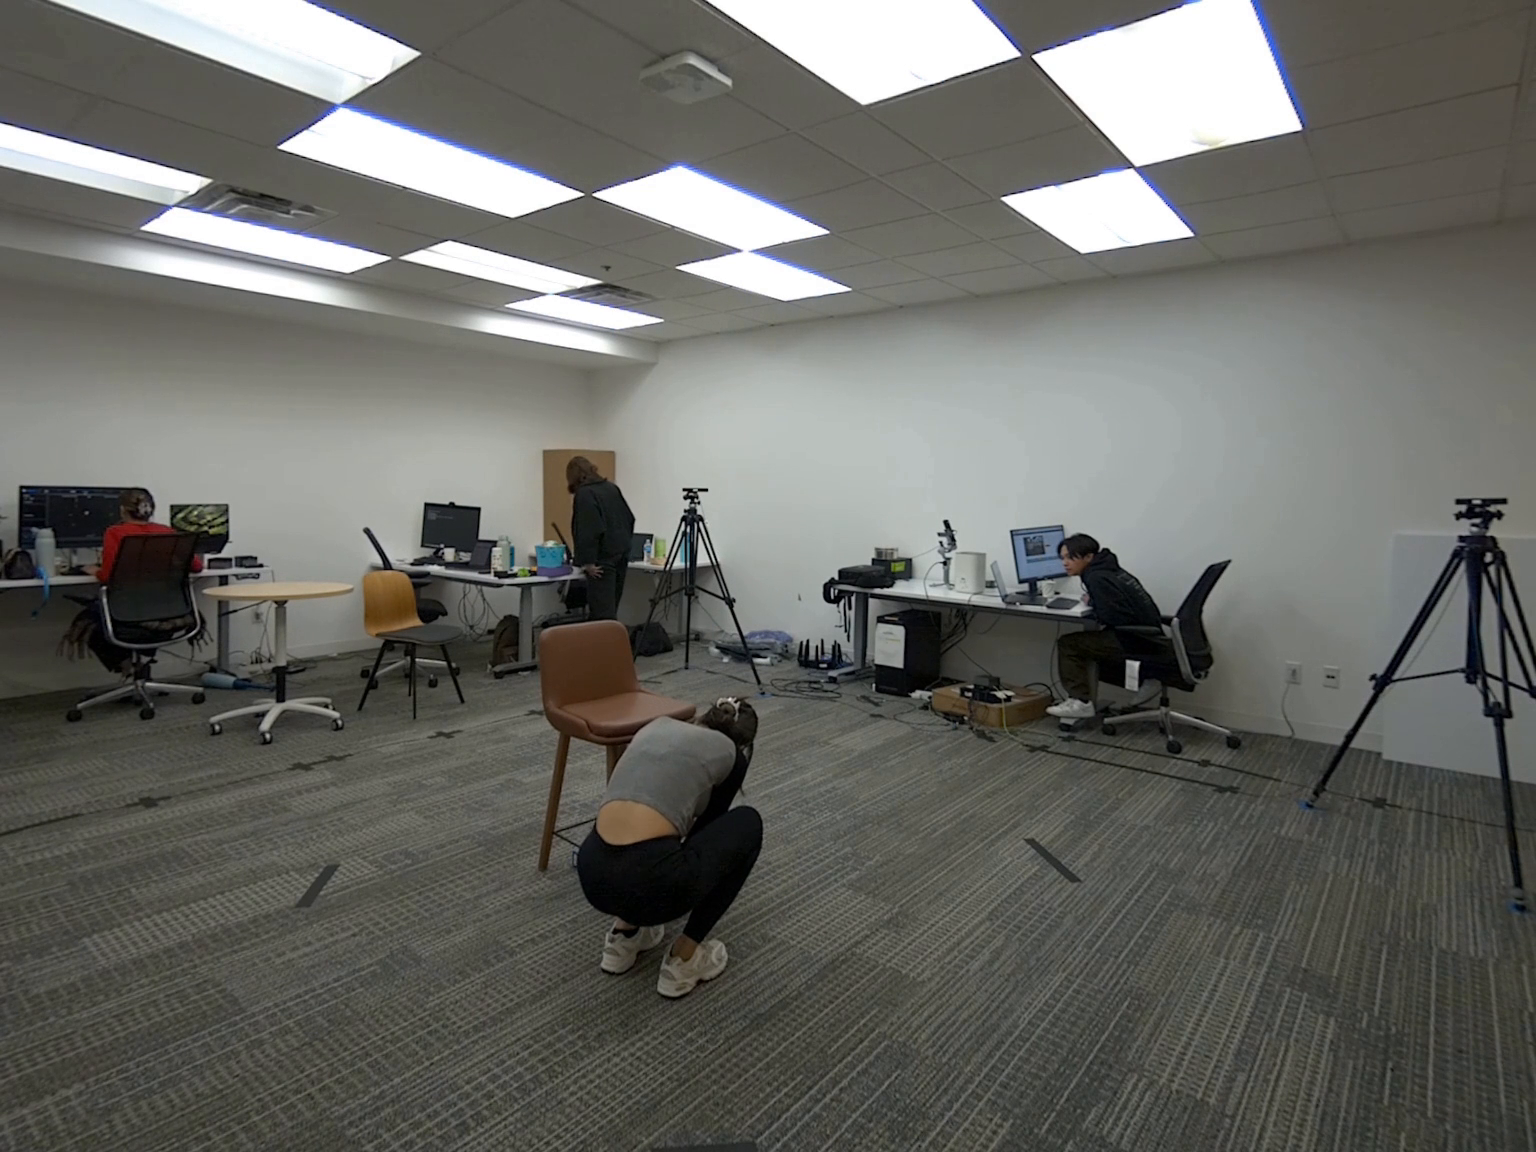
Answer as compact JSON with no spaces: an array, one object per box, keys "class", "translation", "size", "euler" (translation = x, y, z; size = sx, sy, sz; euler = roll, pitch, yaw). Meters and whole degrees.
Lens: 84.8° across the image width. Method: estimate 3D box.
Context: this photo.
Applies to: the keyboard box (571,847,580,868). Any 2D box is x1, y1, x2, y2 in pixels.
[{"class":"keyboard box","translation":[-0.500,1.038,3.022],"size":[0.452,0.059,0.171],"euler":[5,6,42]}]
